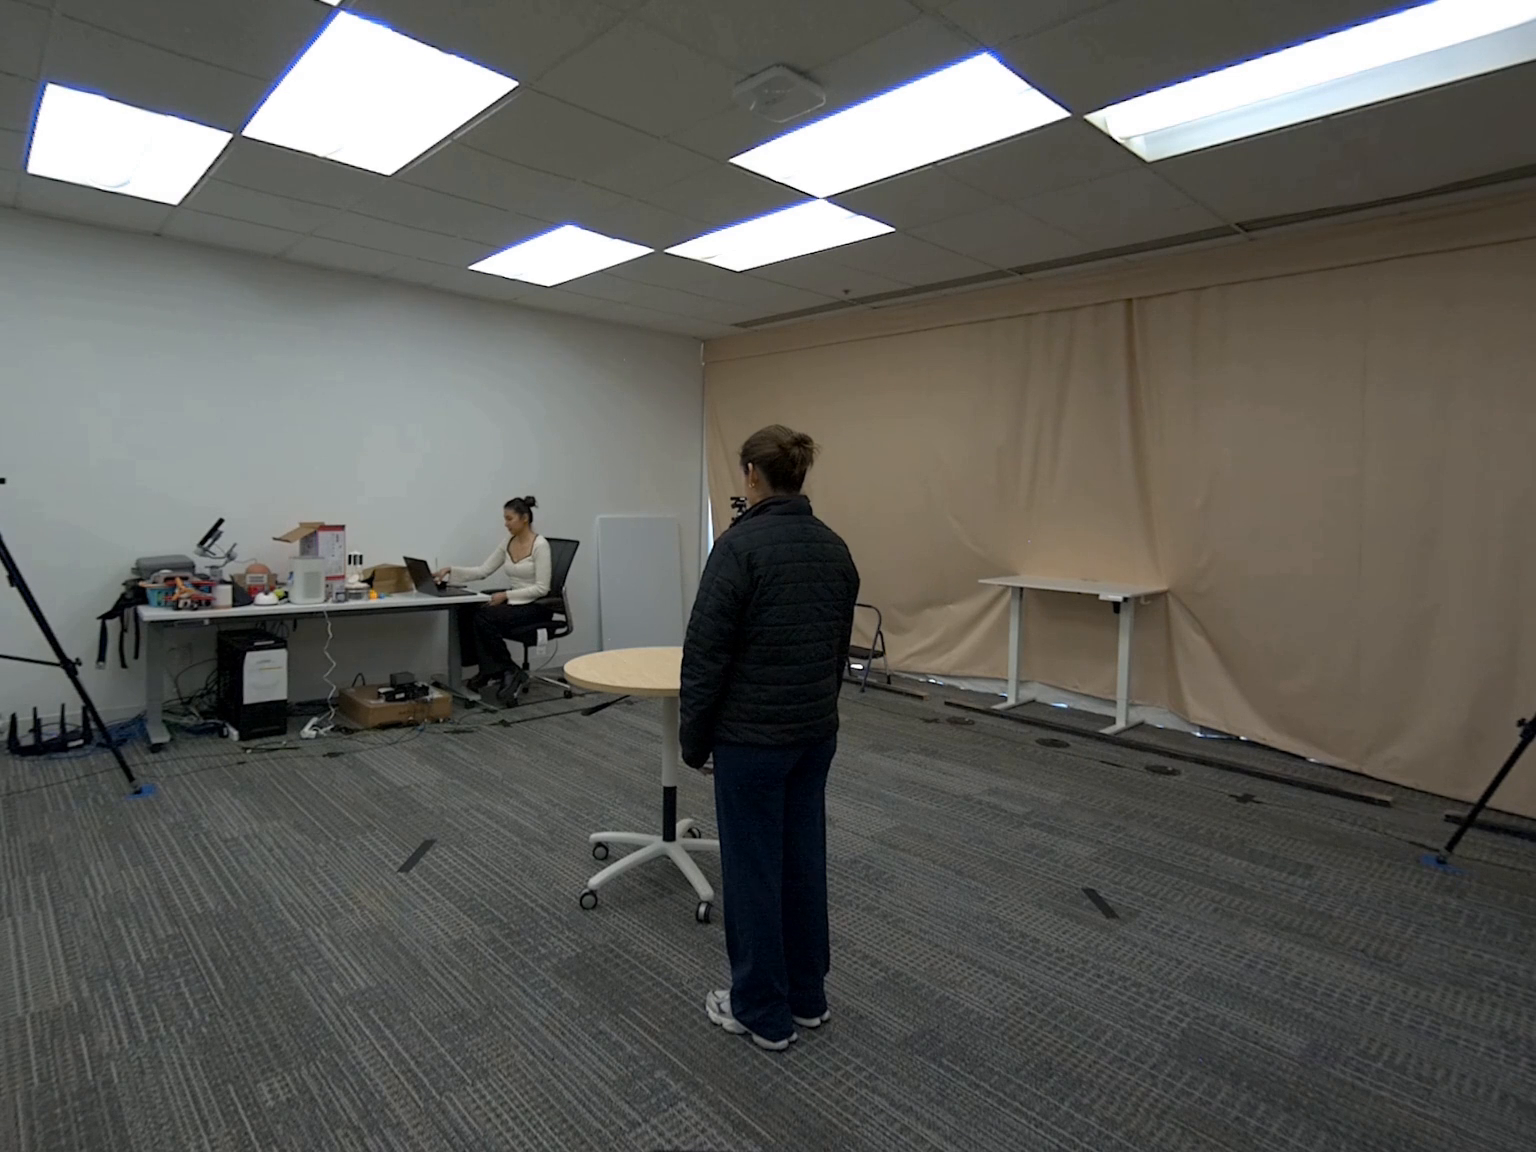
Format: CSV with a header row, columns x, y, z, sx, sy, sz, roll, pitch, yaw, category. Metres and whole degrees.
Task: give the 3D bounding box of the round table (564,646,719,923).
x,y,z,sx,sy,sz,roll,pitch,yaw,category
-0.357,0.717,3.030,0.784,0.785,0.787,1,4,-1,round table
